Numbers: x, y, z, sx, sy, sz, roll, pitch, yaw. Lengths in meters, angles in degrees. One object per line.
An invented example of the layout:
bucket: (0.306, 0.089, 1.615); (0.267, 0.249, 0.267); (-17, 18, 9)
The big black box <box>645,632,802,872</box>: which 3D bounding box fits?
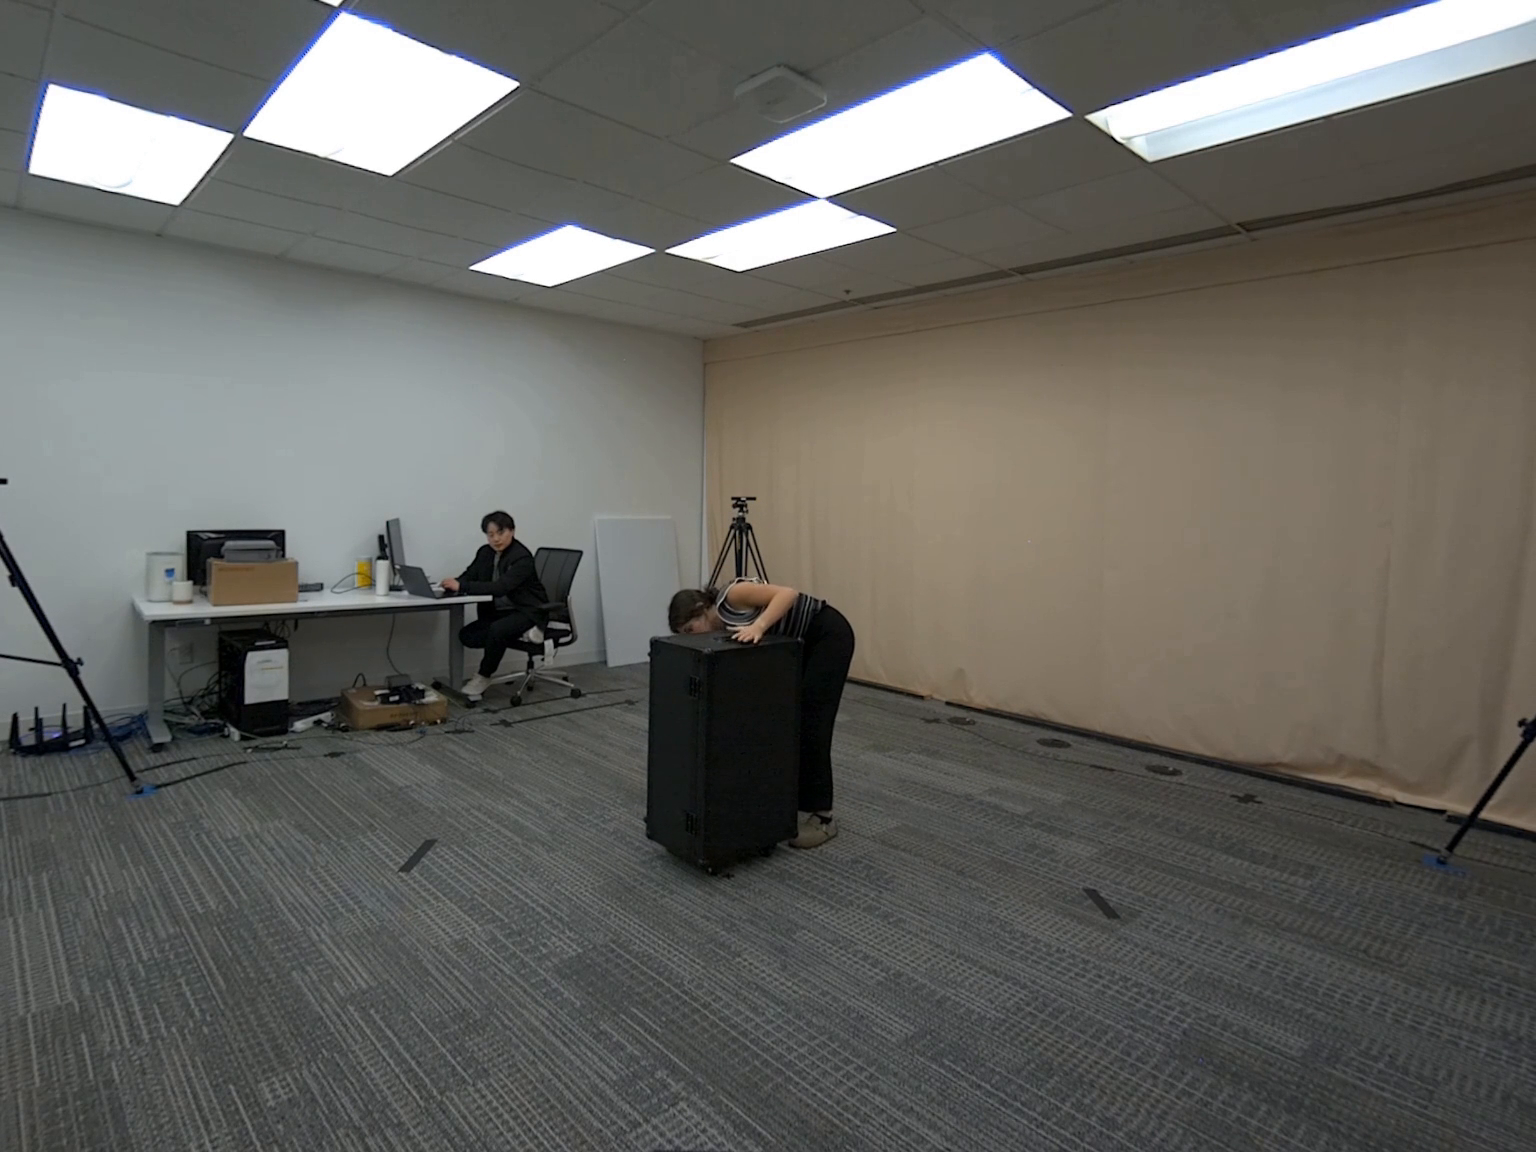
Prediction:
big black box: (-0.193, 0.669, 3.267); (0.509, 0.860, 0.406); (-1, 3, -42)
